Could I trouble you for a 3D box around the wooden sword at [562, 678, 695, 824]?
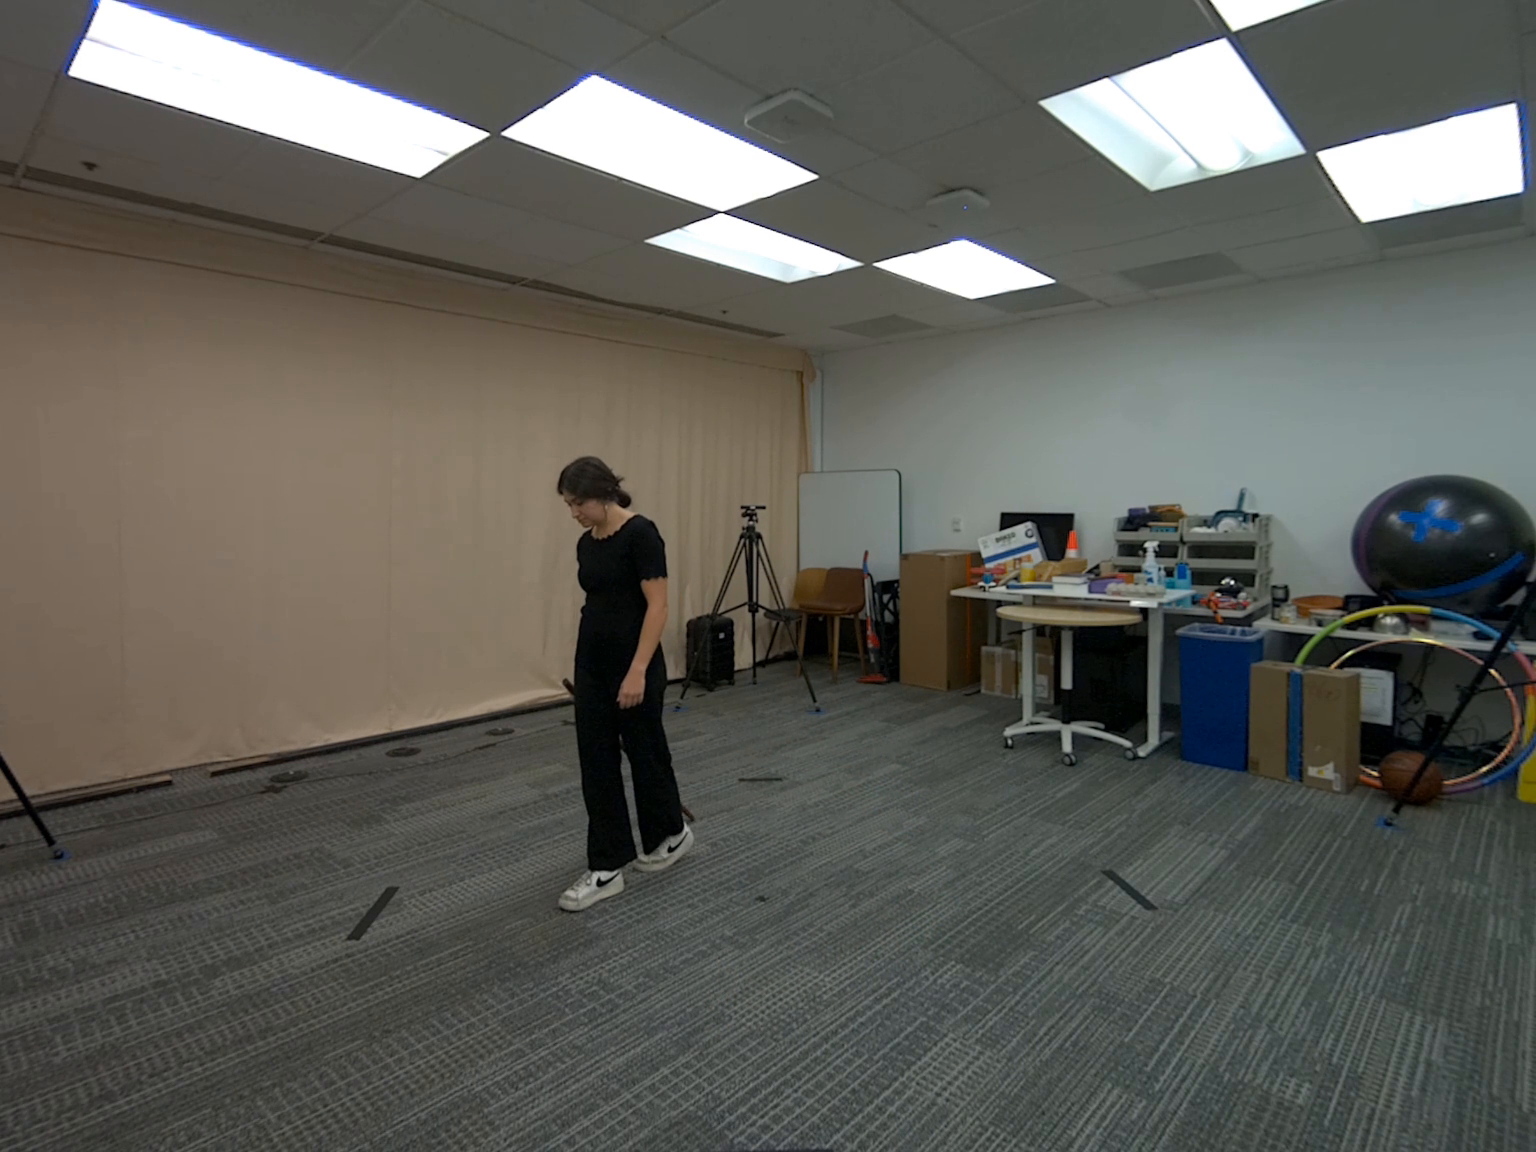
[{"bbox_3d":[-0.547,0.758,3.452,0.053,0.024,0.992,22,-26,50],"label":"wooden sword"}]
